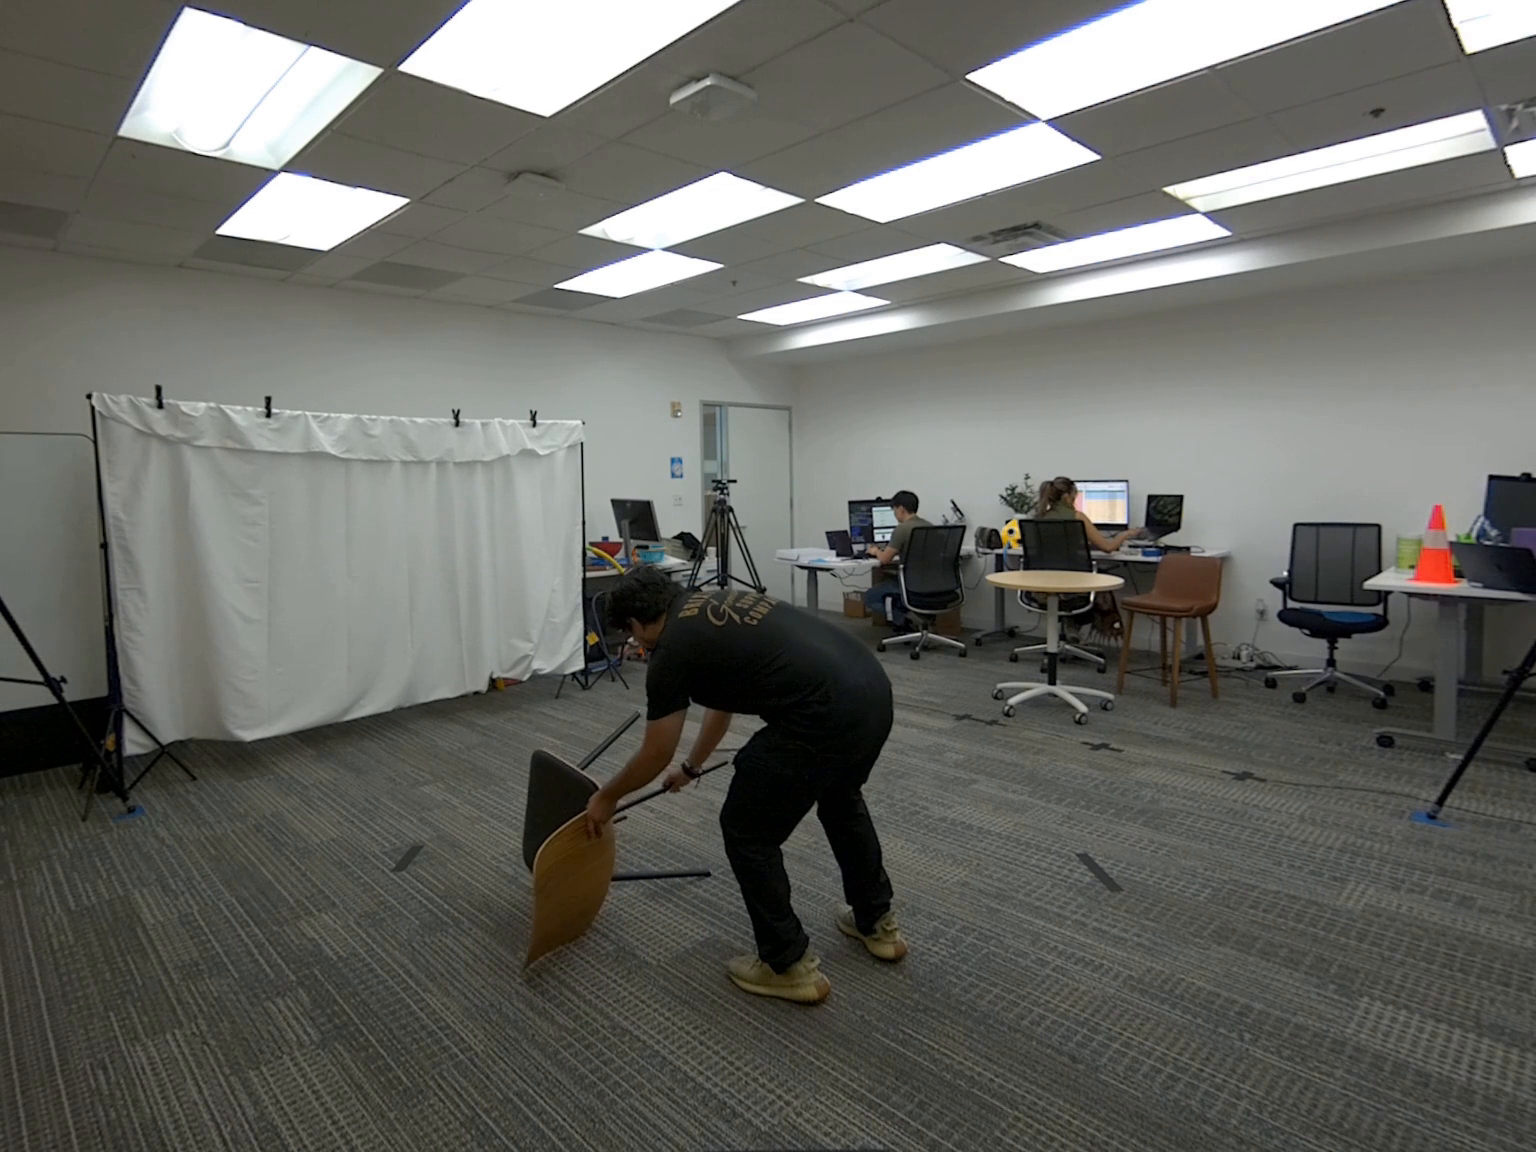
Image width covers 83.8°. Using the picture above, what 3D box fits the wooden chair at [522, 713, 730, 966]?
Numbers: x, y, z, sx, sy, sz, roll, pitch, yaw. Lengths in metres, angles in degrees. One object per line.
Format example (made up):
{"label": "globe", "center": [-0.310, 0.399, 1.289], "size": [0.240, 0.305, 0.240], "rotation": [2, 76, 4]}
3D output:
{"label": "wooden chair", "center": [-0.603, 0.835, 2.793], "size": [0.540, 0.473, 0.858], "rotation": [18, 18, 32]}
